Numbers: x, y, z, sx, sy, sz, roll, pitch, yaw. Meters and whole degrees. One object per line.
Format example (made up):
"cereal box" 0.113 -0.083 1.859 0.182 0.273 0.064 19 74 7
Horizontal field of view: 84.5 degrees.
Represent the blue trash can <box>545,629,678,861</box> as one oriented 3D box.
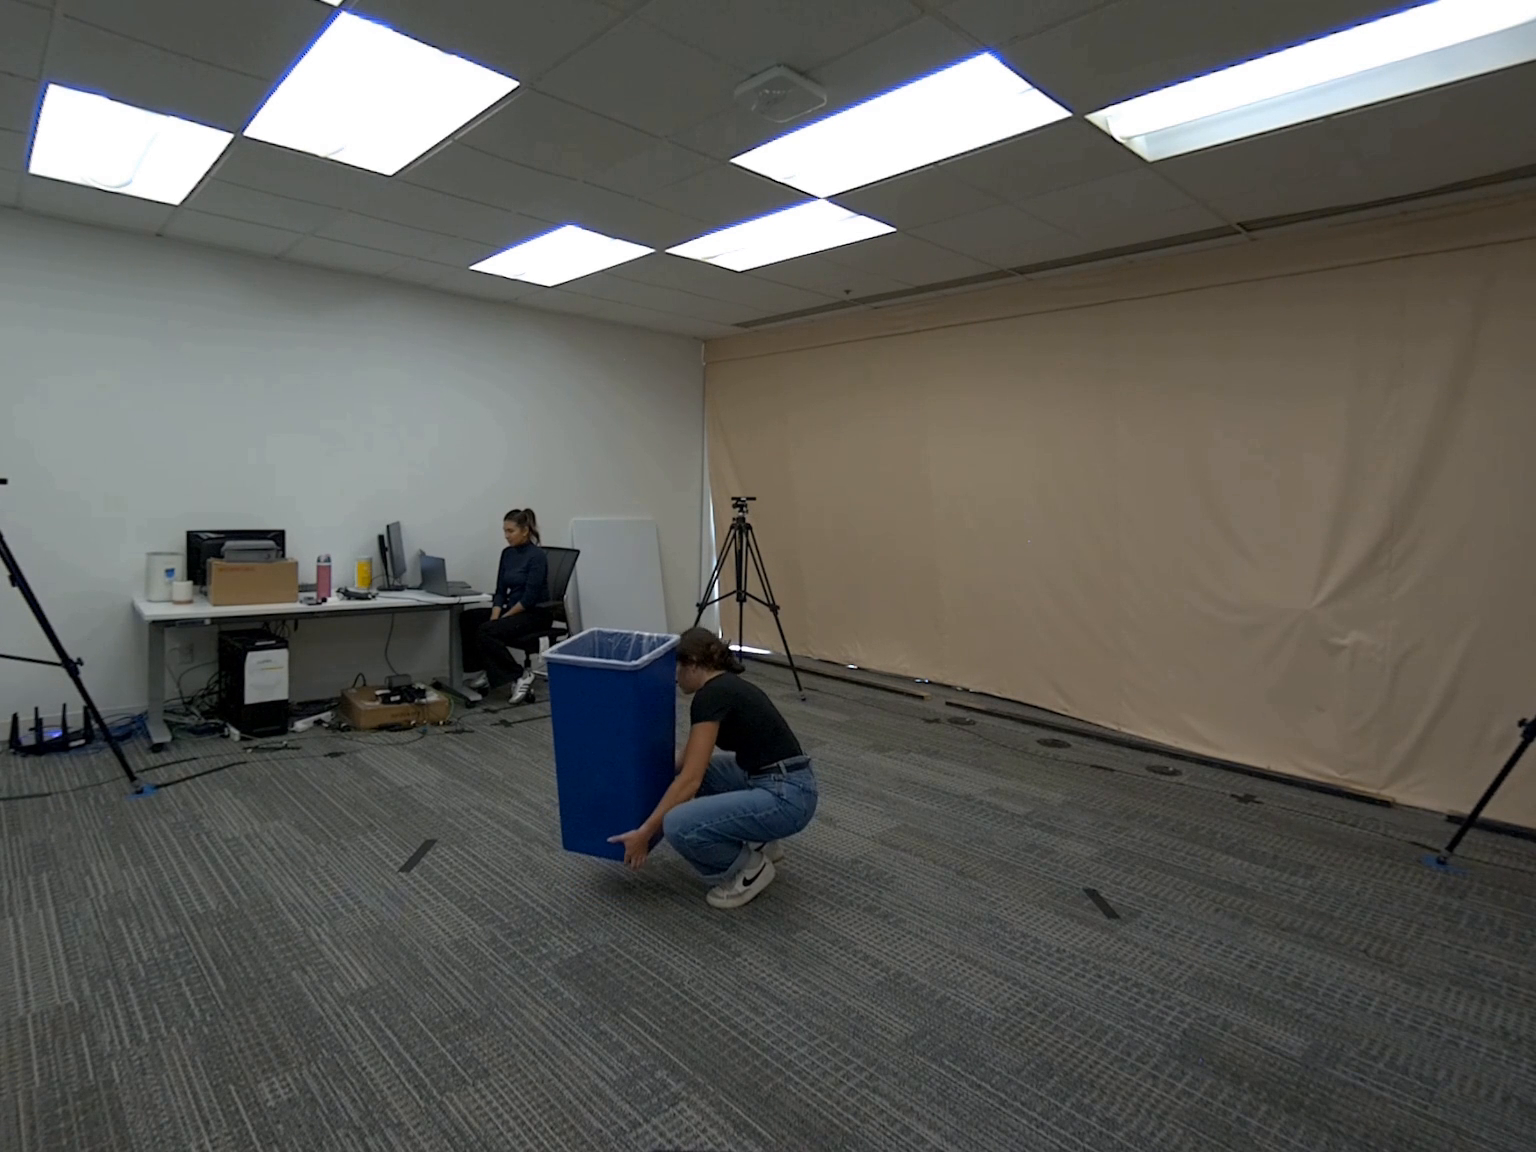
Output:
"blue trash can" -0.541 0.583 2.947 0.384 0.709 0.371 3 9 19
